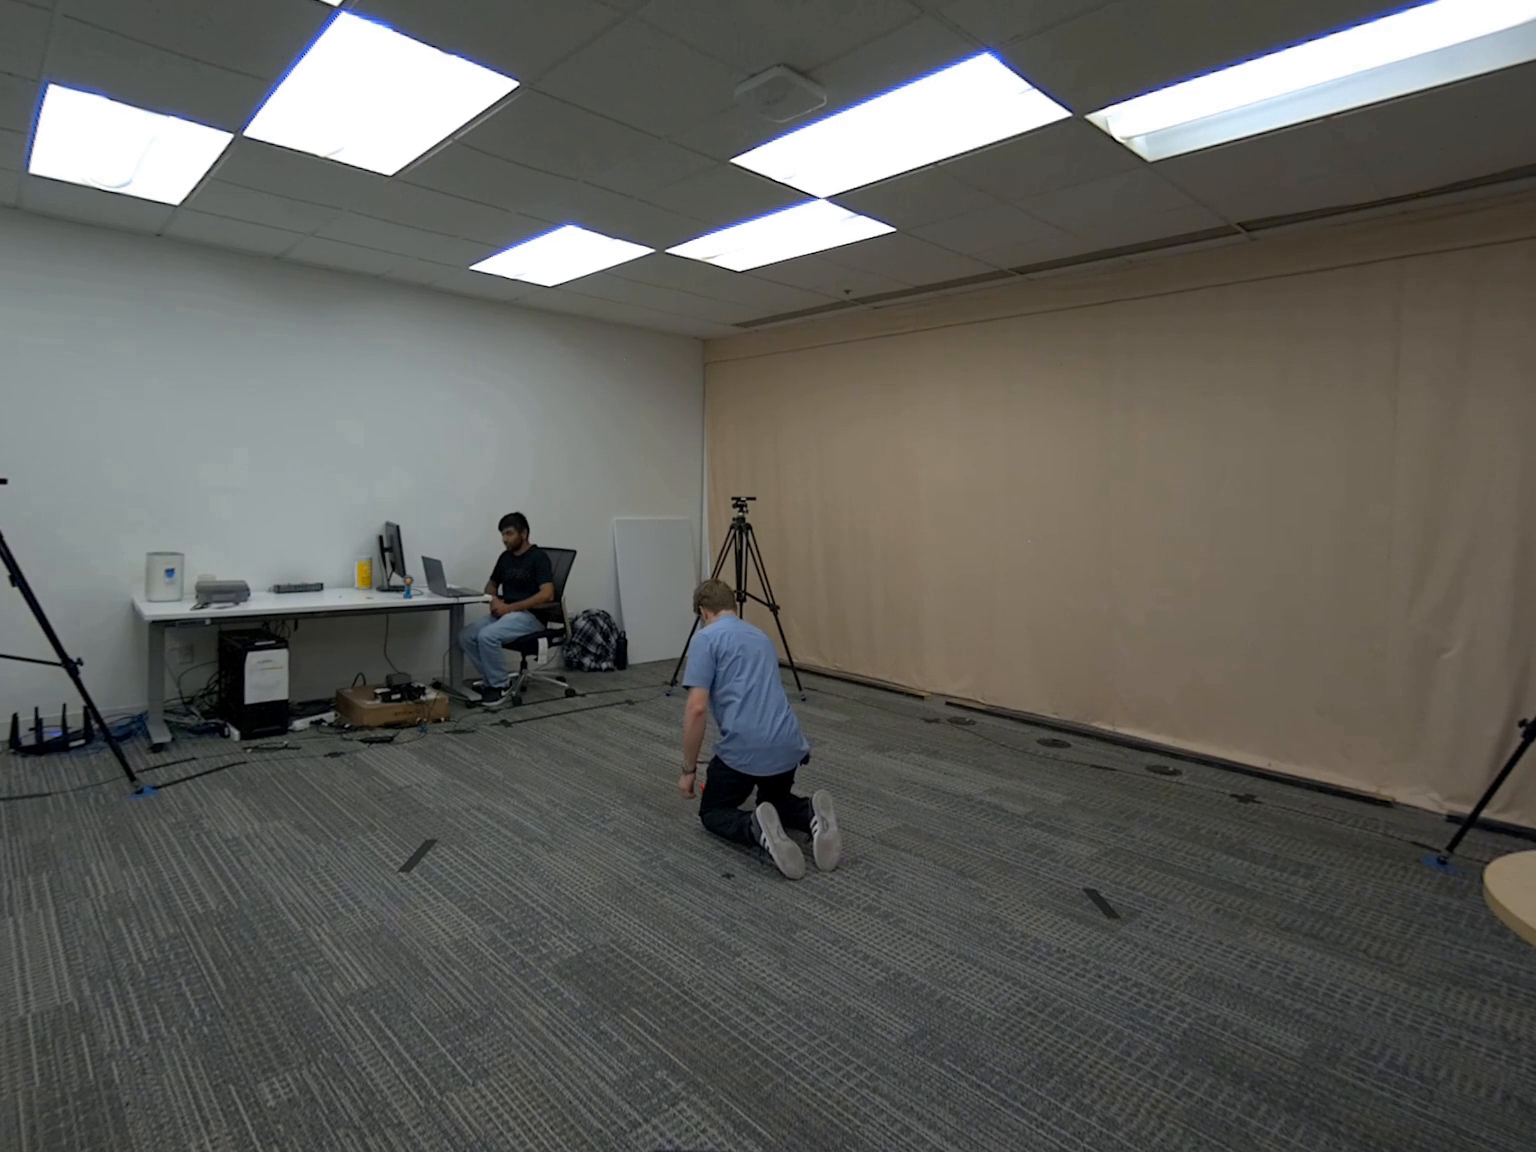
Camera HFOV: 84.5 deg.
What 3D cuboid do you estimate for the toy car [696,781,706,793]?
[{"bbox_3d":[-0.194,1.002,3.986,0.251,0.083,0.133,-11,8,-23],"label":"toy car"}]
